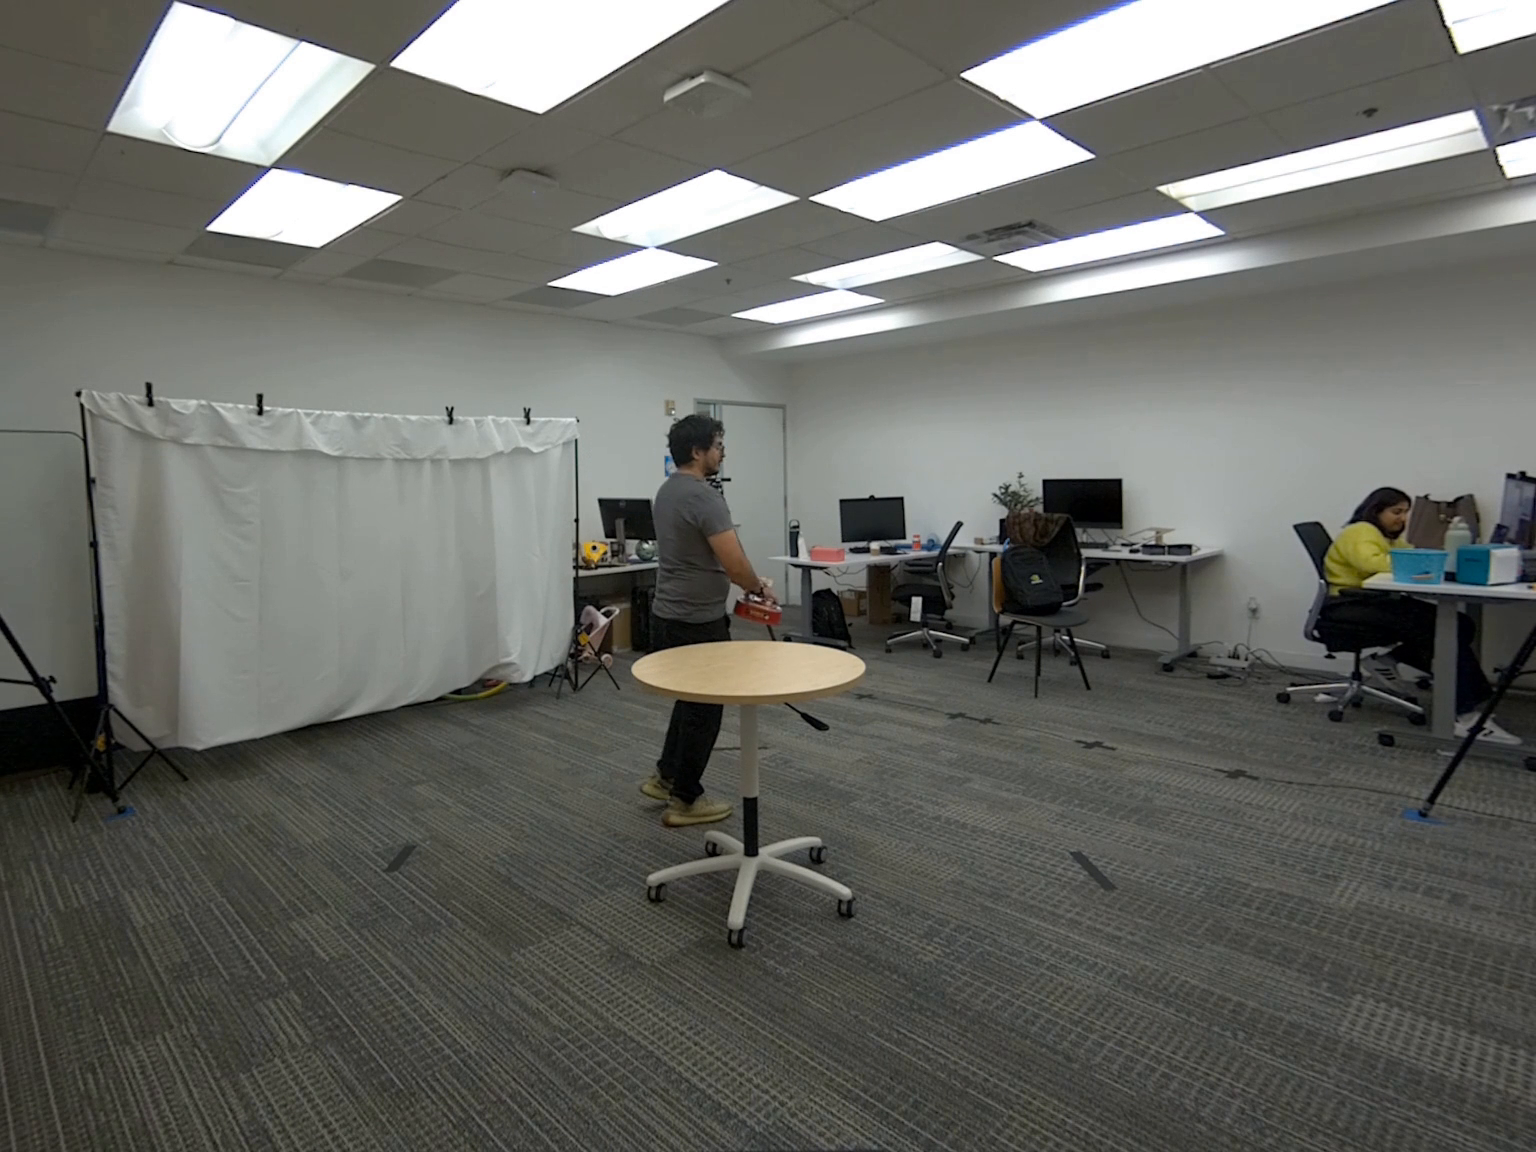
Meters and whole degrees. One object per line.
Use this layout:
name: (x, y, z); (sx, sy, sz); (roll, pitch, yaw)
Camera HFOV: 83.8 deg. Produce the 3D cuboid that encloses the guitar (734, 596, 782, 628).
guitar: (-0.004, 0.102, 3.667); (0.196, 0.070, 0.494); (12, 13, 13)
